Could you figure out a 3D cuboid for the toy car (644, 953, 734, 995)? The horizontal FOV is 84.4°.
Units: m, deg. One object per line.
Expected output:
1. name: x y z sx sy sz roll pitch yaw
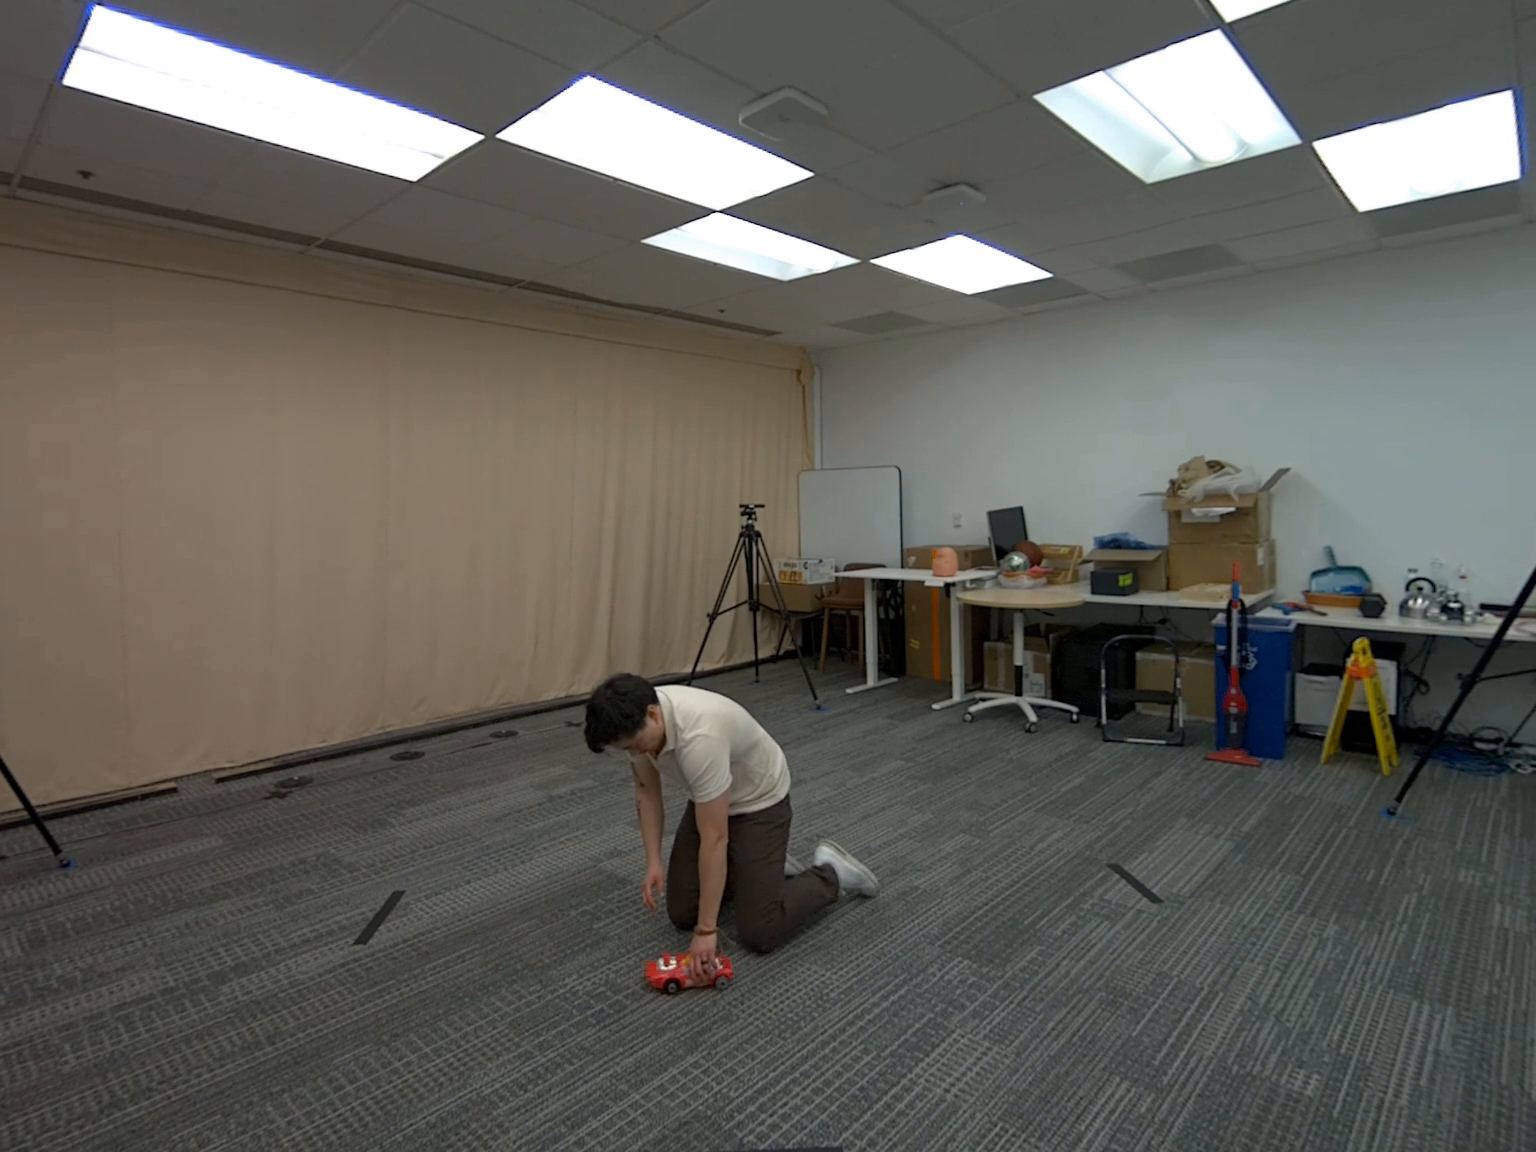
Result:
1. toy car: -0.238 1.155 2.462 0.251 0.083 0.132 11 2 -11
